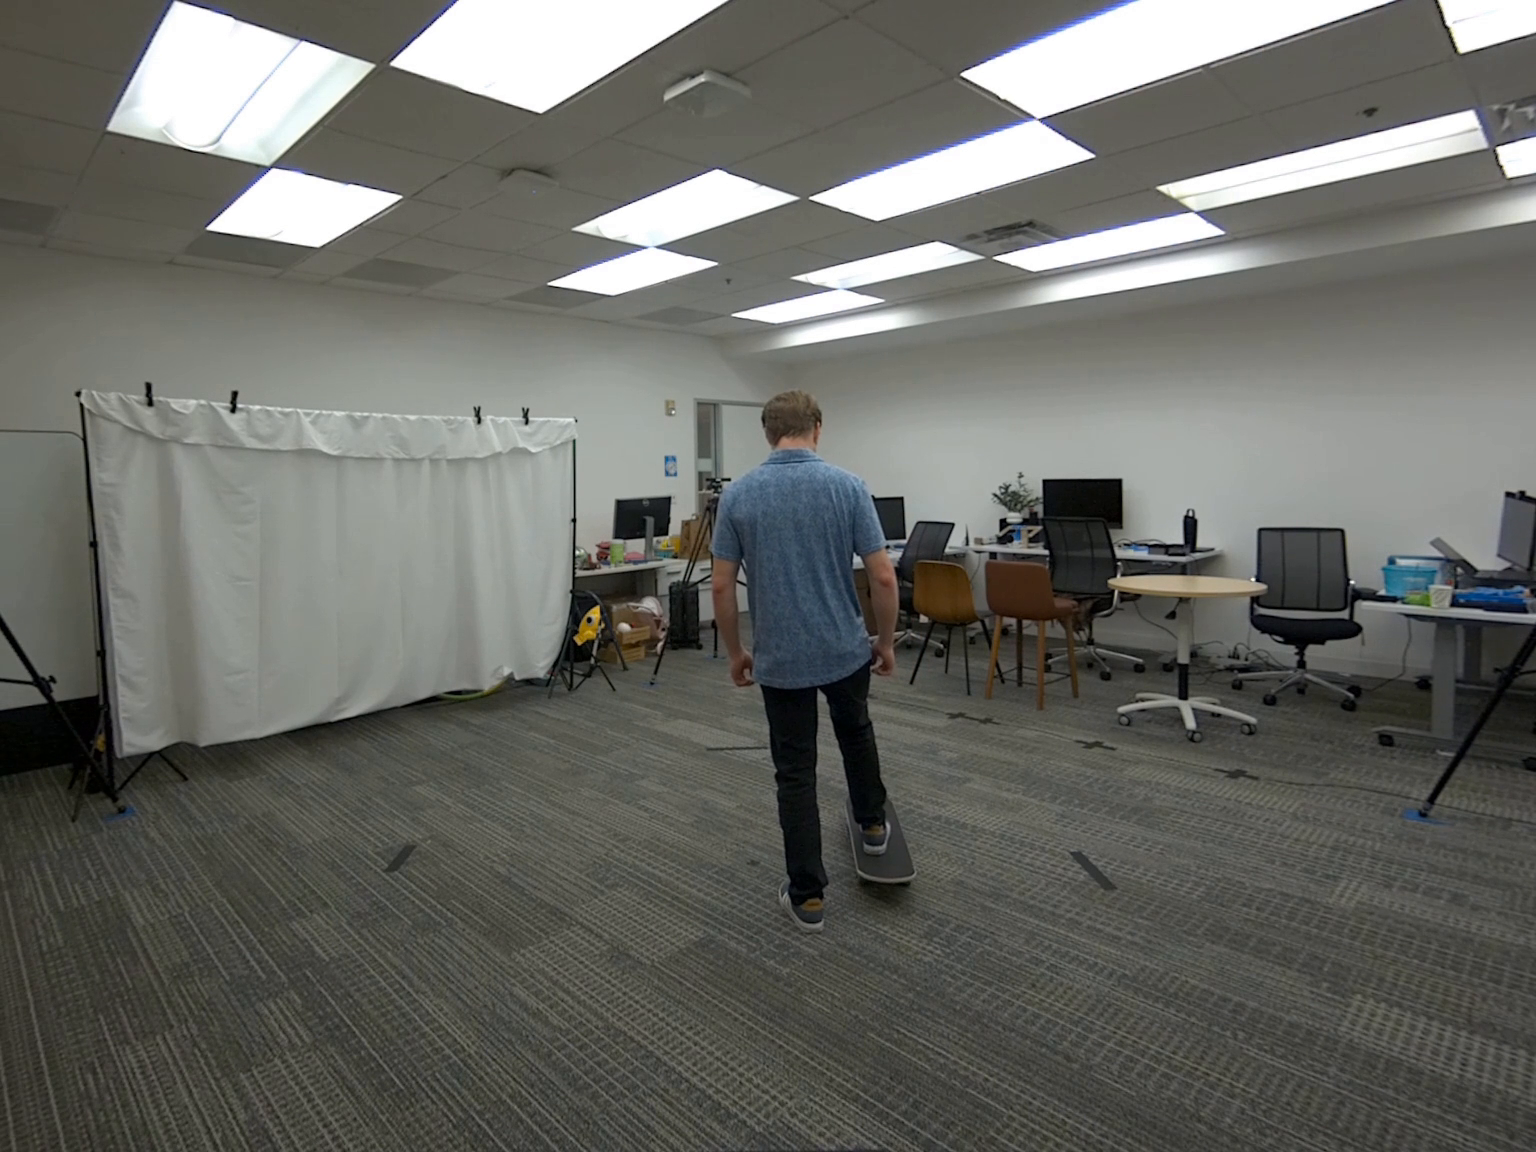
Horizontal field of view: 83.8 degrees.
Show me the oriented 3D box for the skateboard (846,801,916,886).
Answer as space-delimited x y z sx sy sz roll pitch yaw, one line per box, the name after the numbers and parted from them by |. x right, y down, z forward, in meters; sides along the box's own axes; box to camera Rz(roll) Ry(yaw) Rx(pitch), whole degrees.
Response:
0.397 0.972 3.125 0.194 0.110 0.787 -2 6 1 | skateboard
